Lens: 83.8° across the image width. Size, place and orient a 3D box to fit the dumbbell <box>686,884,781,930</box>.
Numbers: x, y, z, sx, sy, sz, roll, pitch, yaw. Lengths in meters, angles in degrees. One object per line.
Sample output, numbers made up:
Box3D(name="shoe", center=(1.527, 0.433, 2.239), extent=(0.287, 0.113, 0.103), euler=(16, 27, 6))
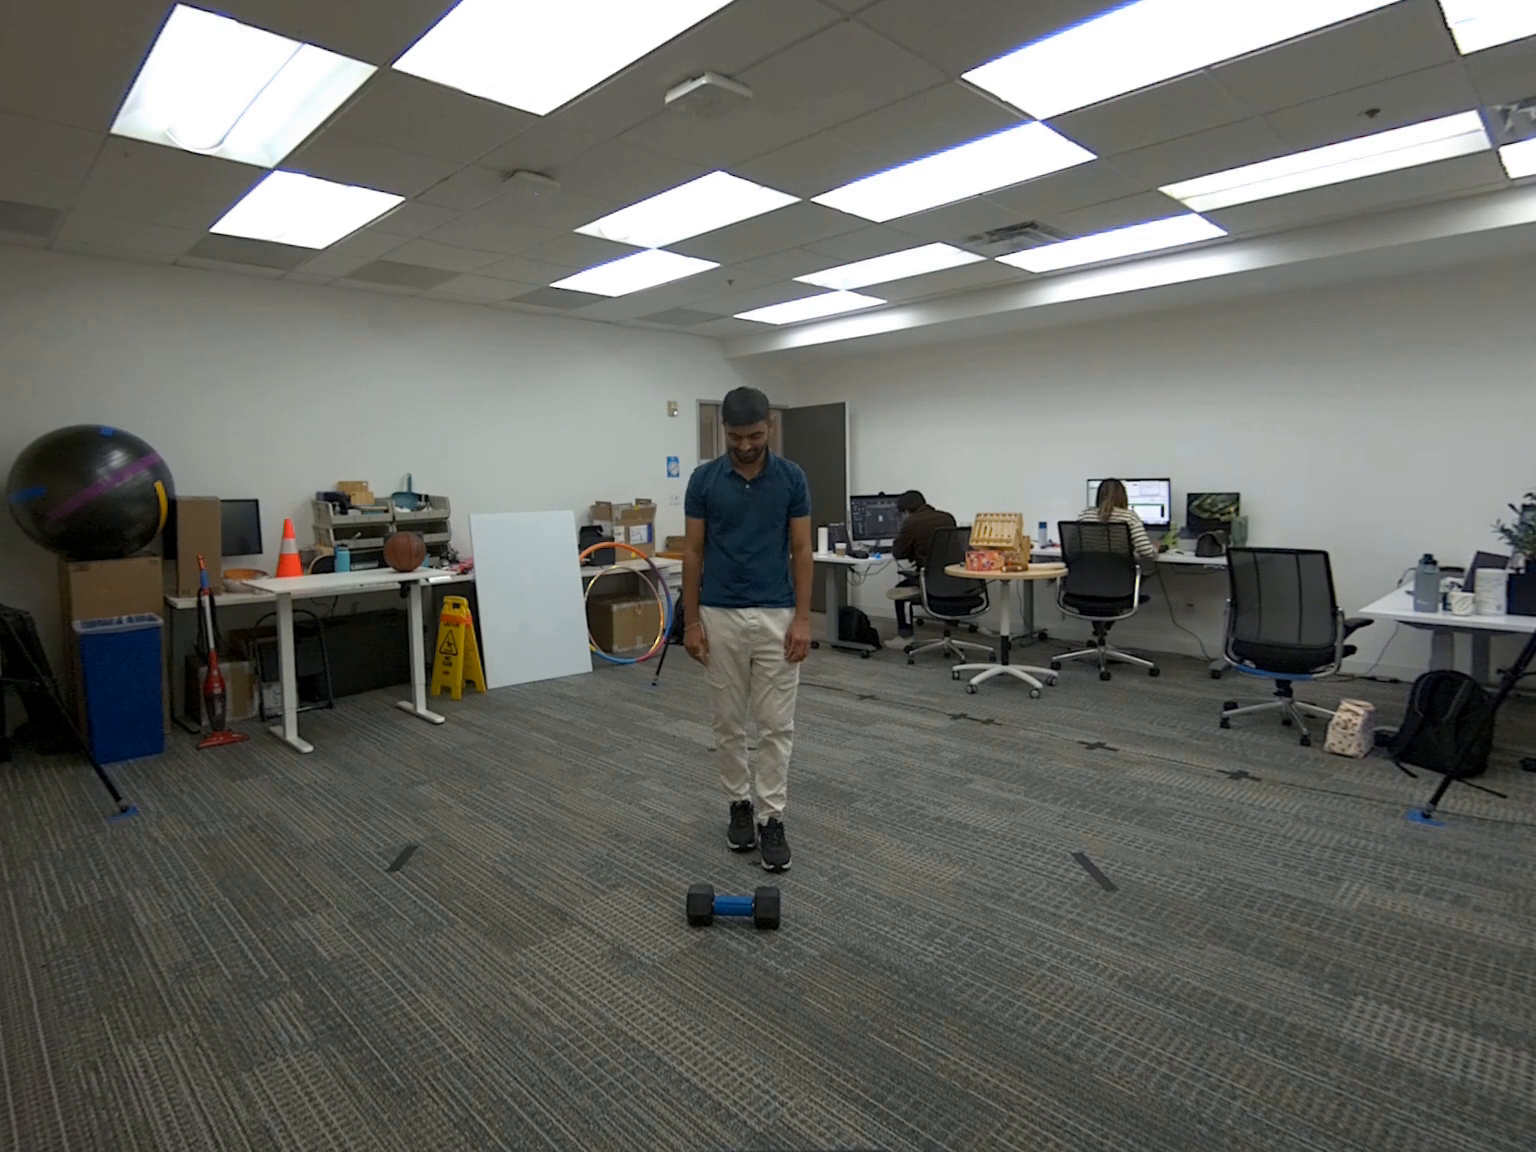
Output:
Box3D(name="dumbbell", center=(-0.105, 1.042, 2.692), extent=(0.295, 0.119, 0.111), euler=(0, 36, 5))
